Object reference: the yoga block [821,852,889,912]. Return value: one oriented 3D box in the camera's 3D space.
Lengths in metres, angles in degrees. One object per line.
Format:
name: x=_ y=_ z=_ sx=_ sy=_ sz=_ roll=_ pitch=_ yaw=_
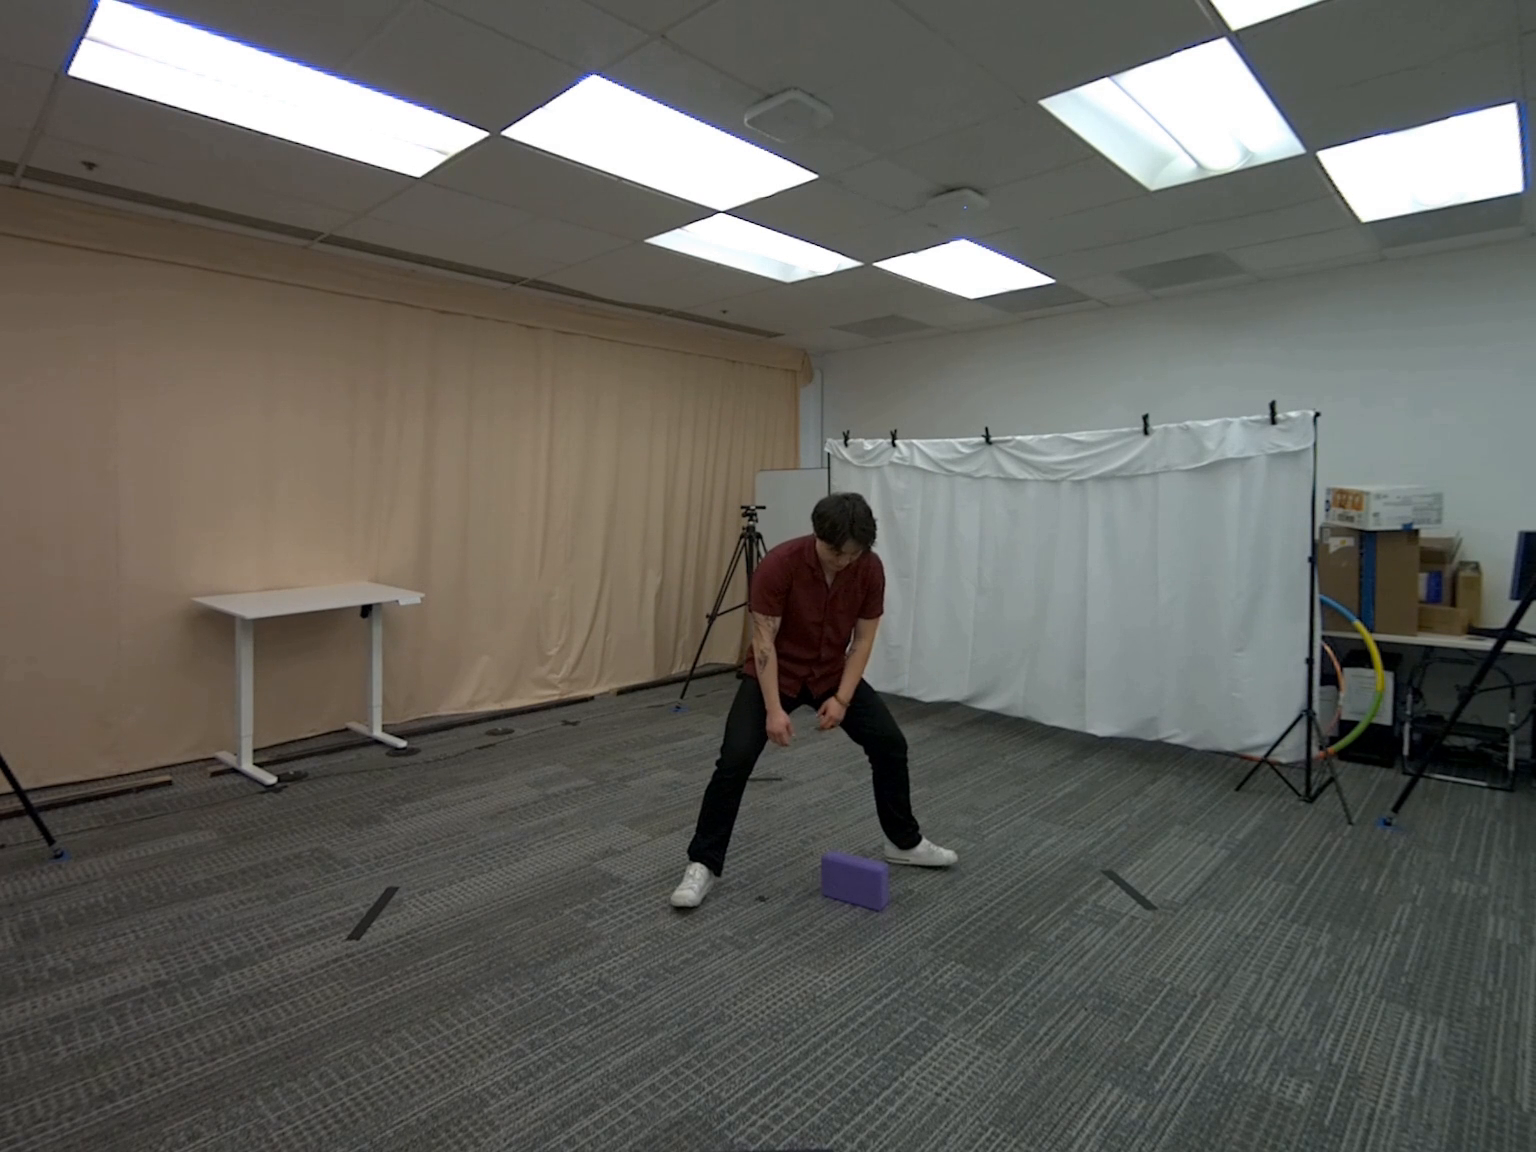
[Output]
yoga block: x=0.316 y=1.069 z=2.957 sx=0.236 sy=0.148 sz=0.074 roll=4 pitch=5 yaw=31
